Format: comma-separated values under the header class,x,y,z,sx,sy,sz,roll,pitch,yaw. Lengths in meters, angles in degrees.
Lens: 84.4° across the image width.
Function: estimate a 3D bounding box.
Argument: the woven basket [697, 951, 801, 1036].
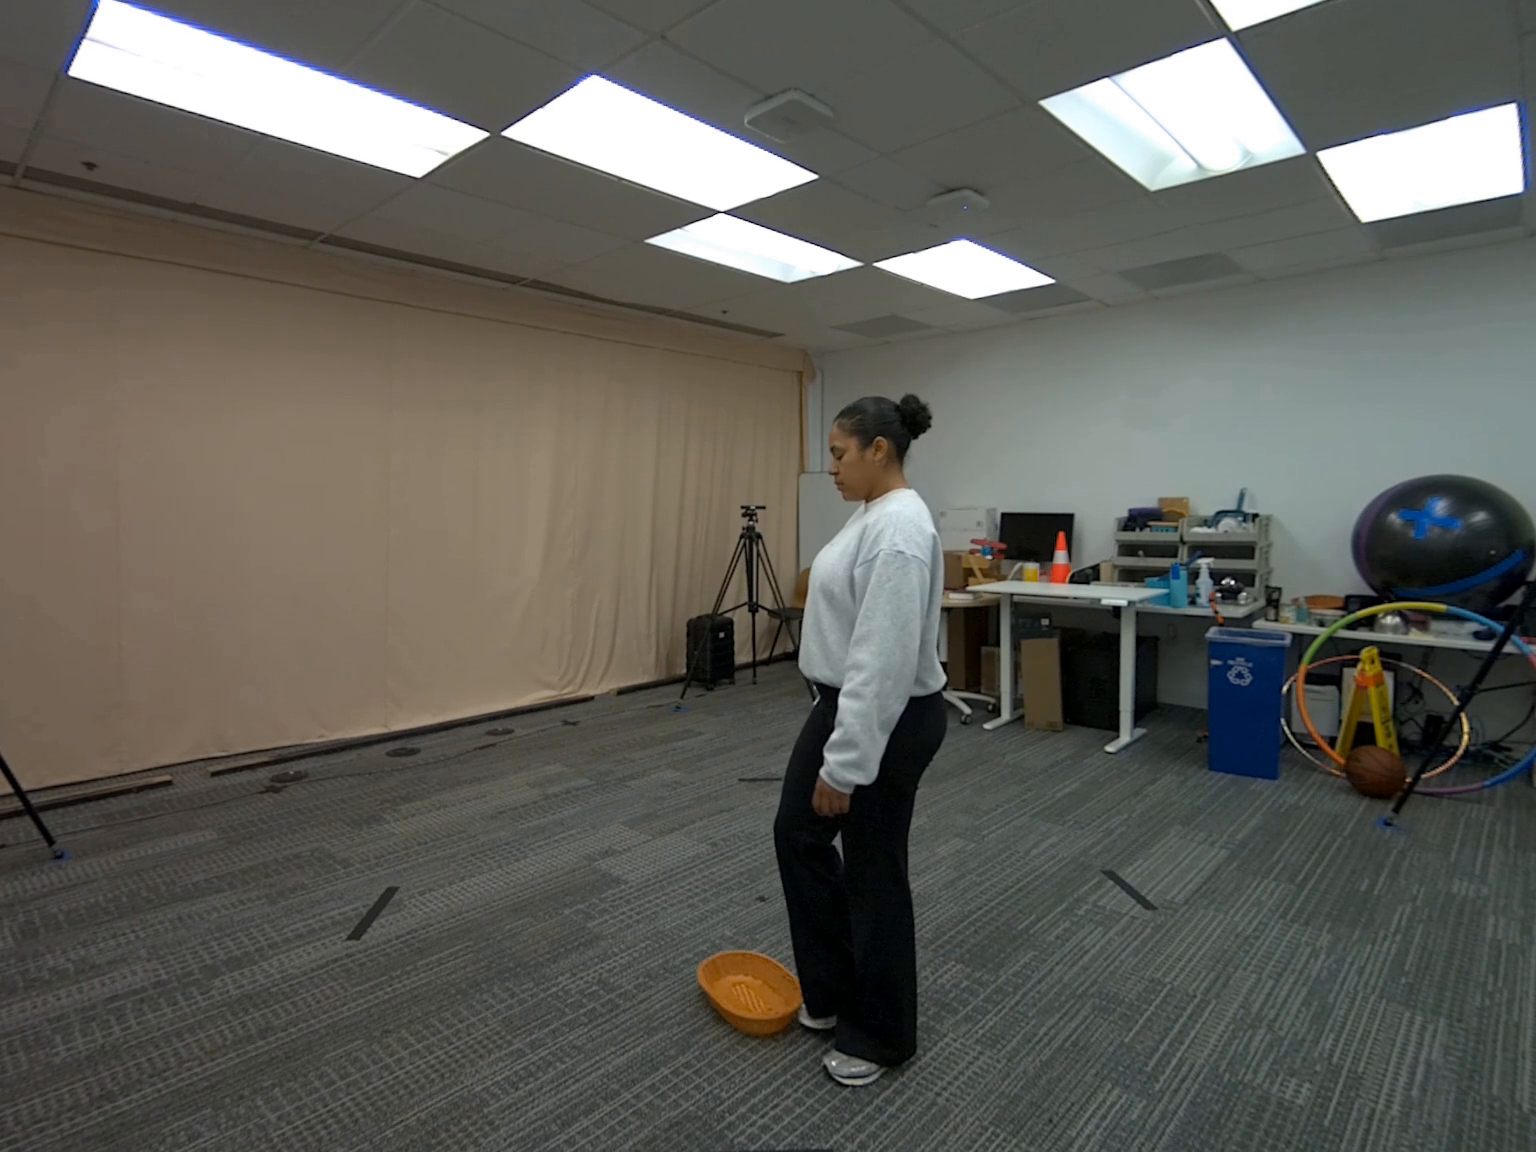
class,x,y,z,sx,sy,sz,roll,pitch,yaw
woven basket,-0.072,1.157,2.362,0.246,0.073,0.361,-2,5,-30
